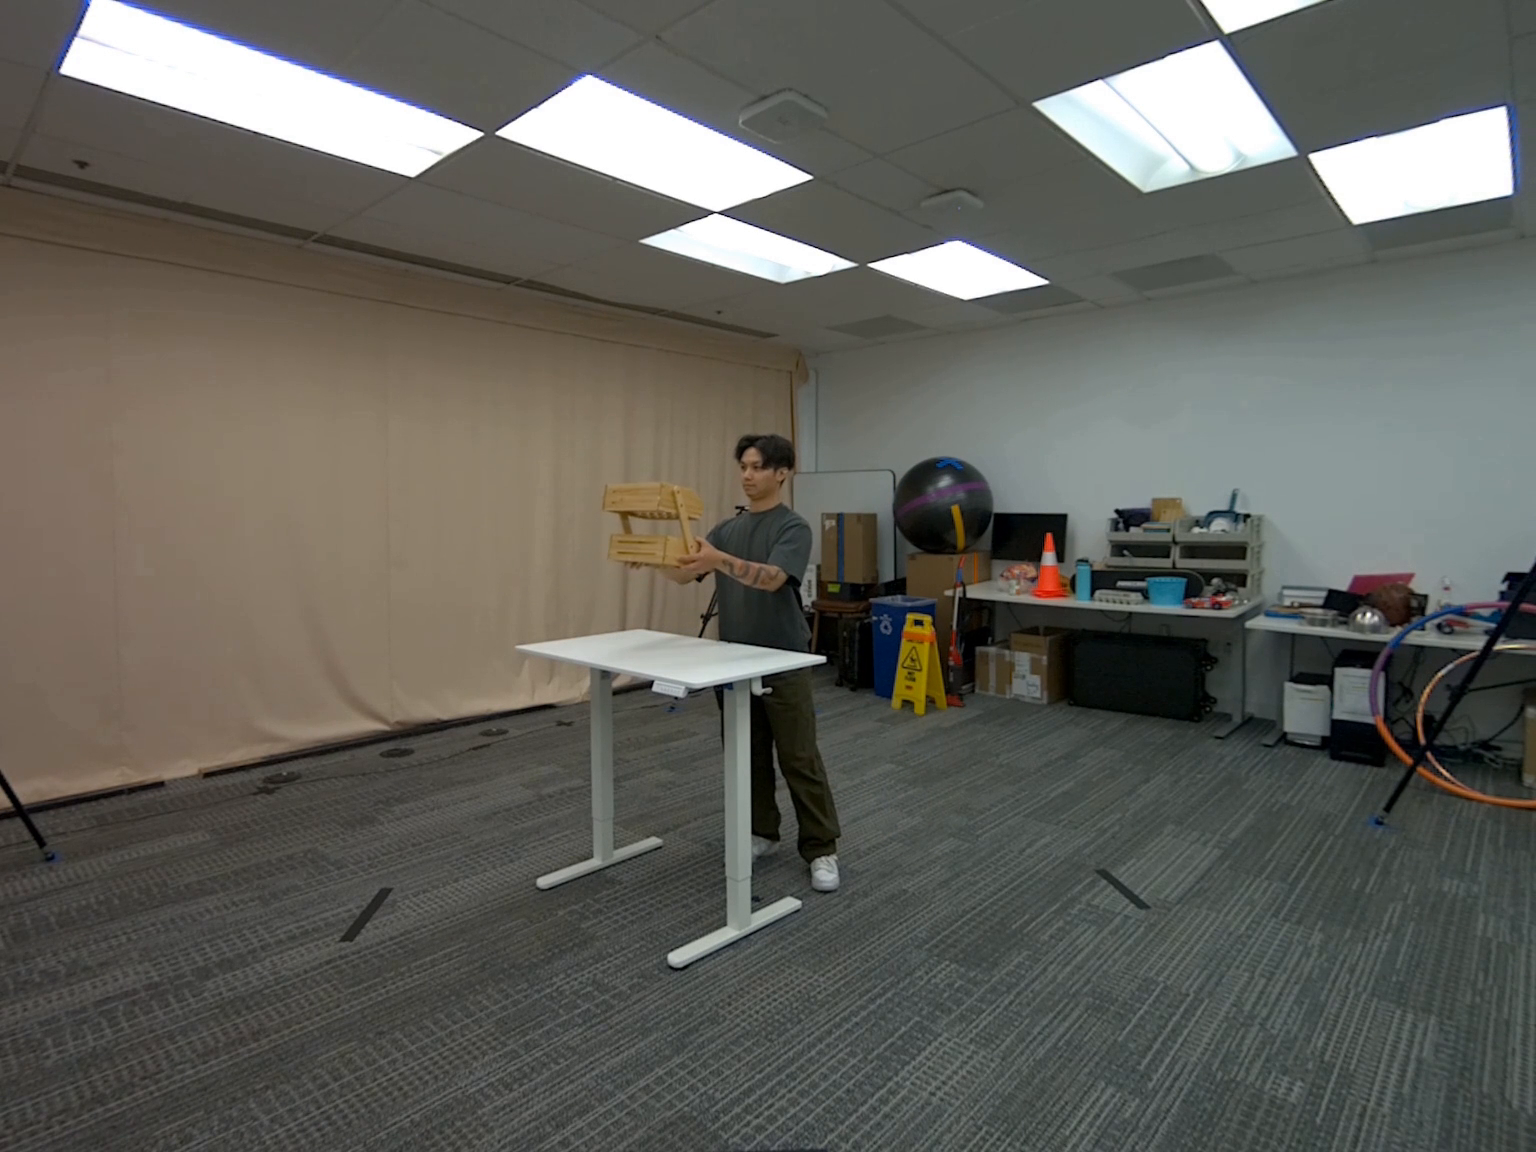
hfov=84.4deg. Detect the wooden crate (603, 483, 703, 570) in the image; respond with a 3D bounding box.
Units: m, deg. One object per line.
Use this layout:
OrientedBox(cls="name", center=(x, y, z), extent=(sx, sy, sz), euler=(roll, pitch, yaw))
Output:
OrientedBox(cls="wooden crate", center=(-0.369, -0.169, 2.937), extent=(0.335, 0.274, 0.291), euler=(3, -5, 44))
